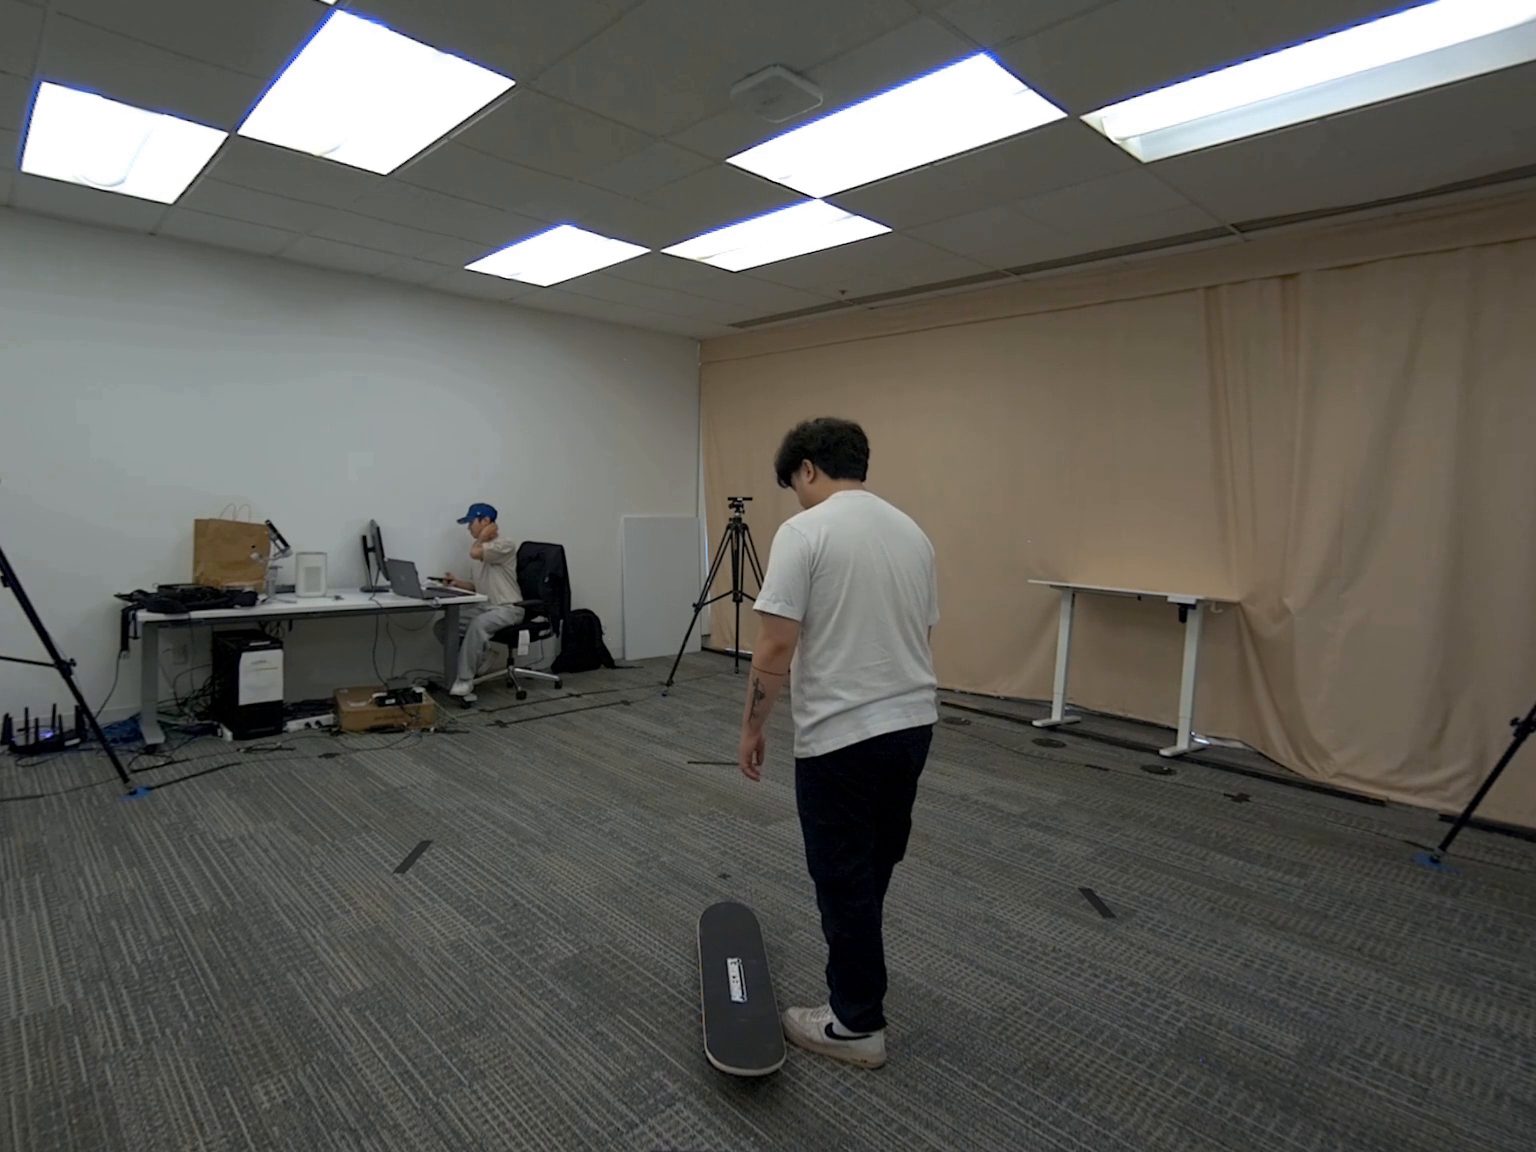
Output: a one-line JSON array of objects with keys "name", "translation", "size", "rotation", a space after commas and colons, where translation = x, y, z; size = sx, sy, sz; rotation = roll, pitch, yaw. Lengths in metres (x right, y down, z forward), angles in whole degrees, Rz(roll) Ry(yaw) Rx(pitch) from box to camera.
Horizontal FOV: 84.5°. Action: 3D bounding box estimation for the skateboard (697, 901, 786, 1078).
[{"name": "skateboard", "translation": [-0.094, 1.125, 2.293], "size": [0.192, 0.110, 0.791], "rotation": [1, 6, -6]}]
